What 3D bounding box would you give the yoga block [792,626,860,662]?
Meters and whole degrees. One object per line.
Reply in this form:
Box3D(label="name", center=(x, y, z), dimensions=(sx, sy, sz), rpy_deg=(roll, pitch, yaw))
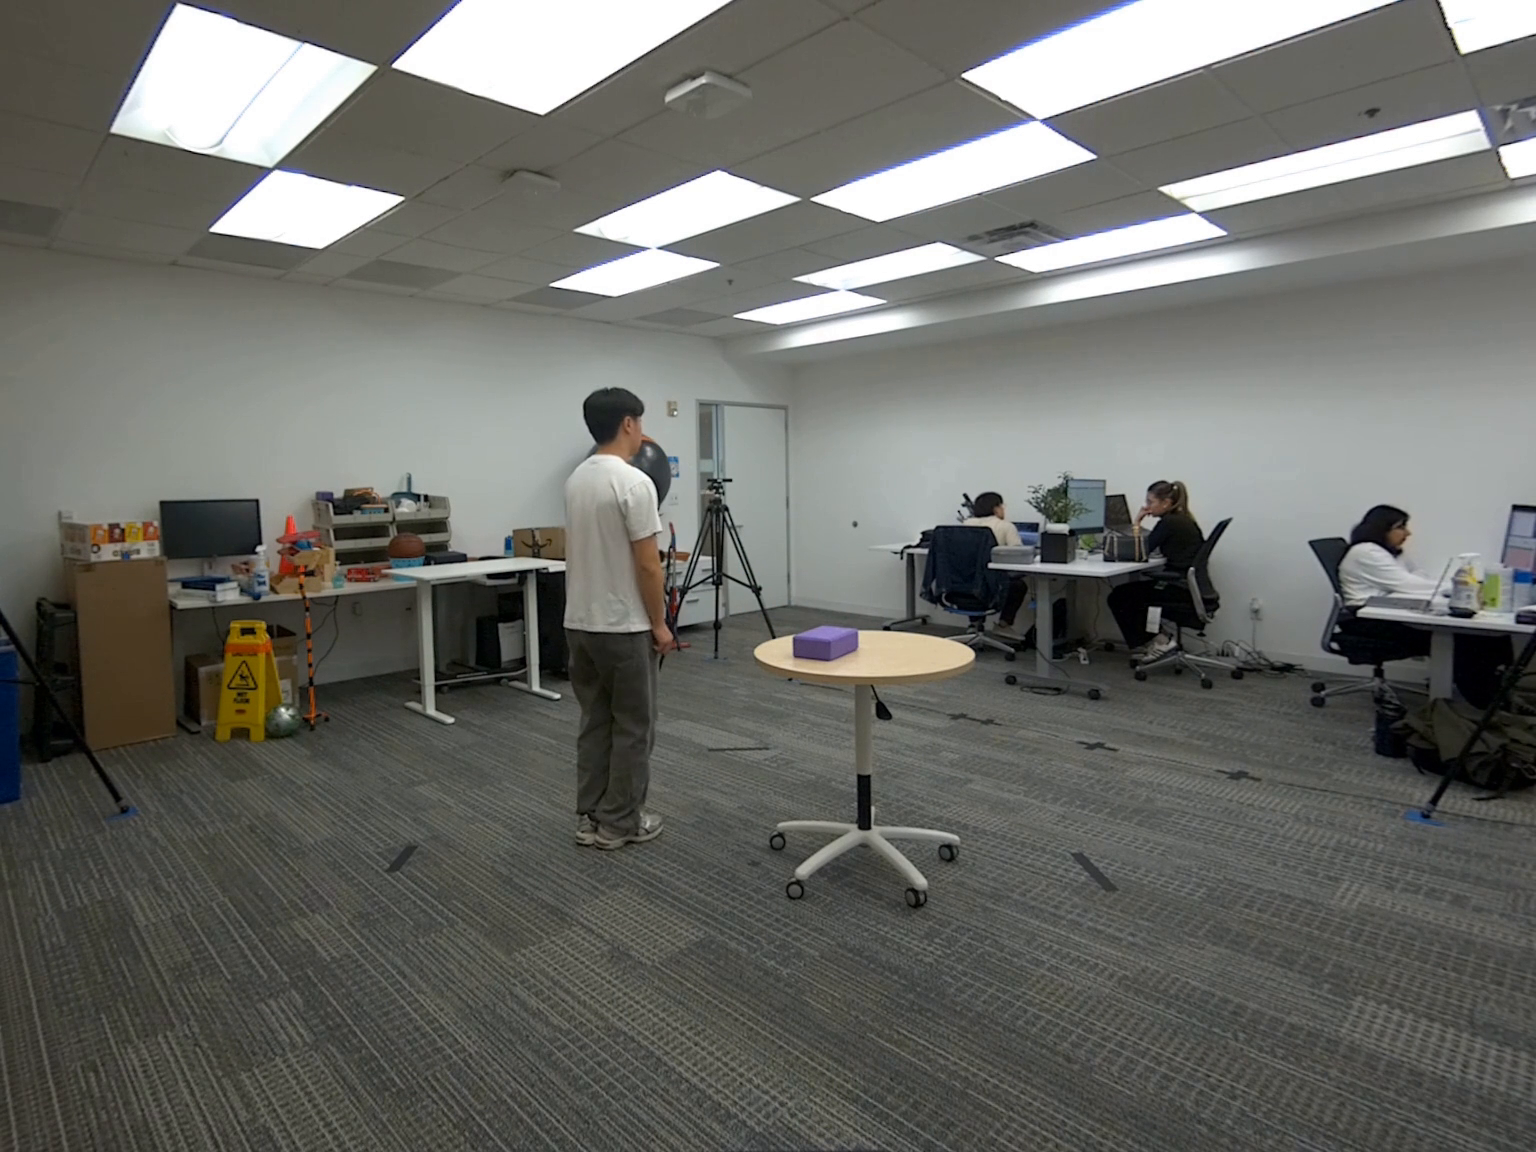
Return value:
Box3D(label="yoga block", center=(0.208, 0.235, 2.992), dimensions=(0.153, 0.076, 0.224), rpy_deg=(3, 8, 32))
